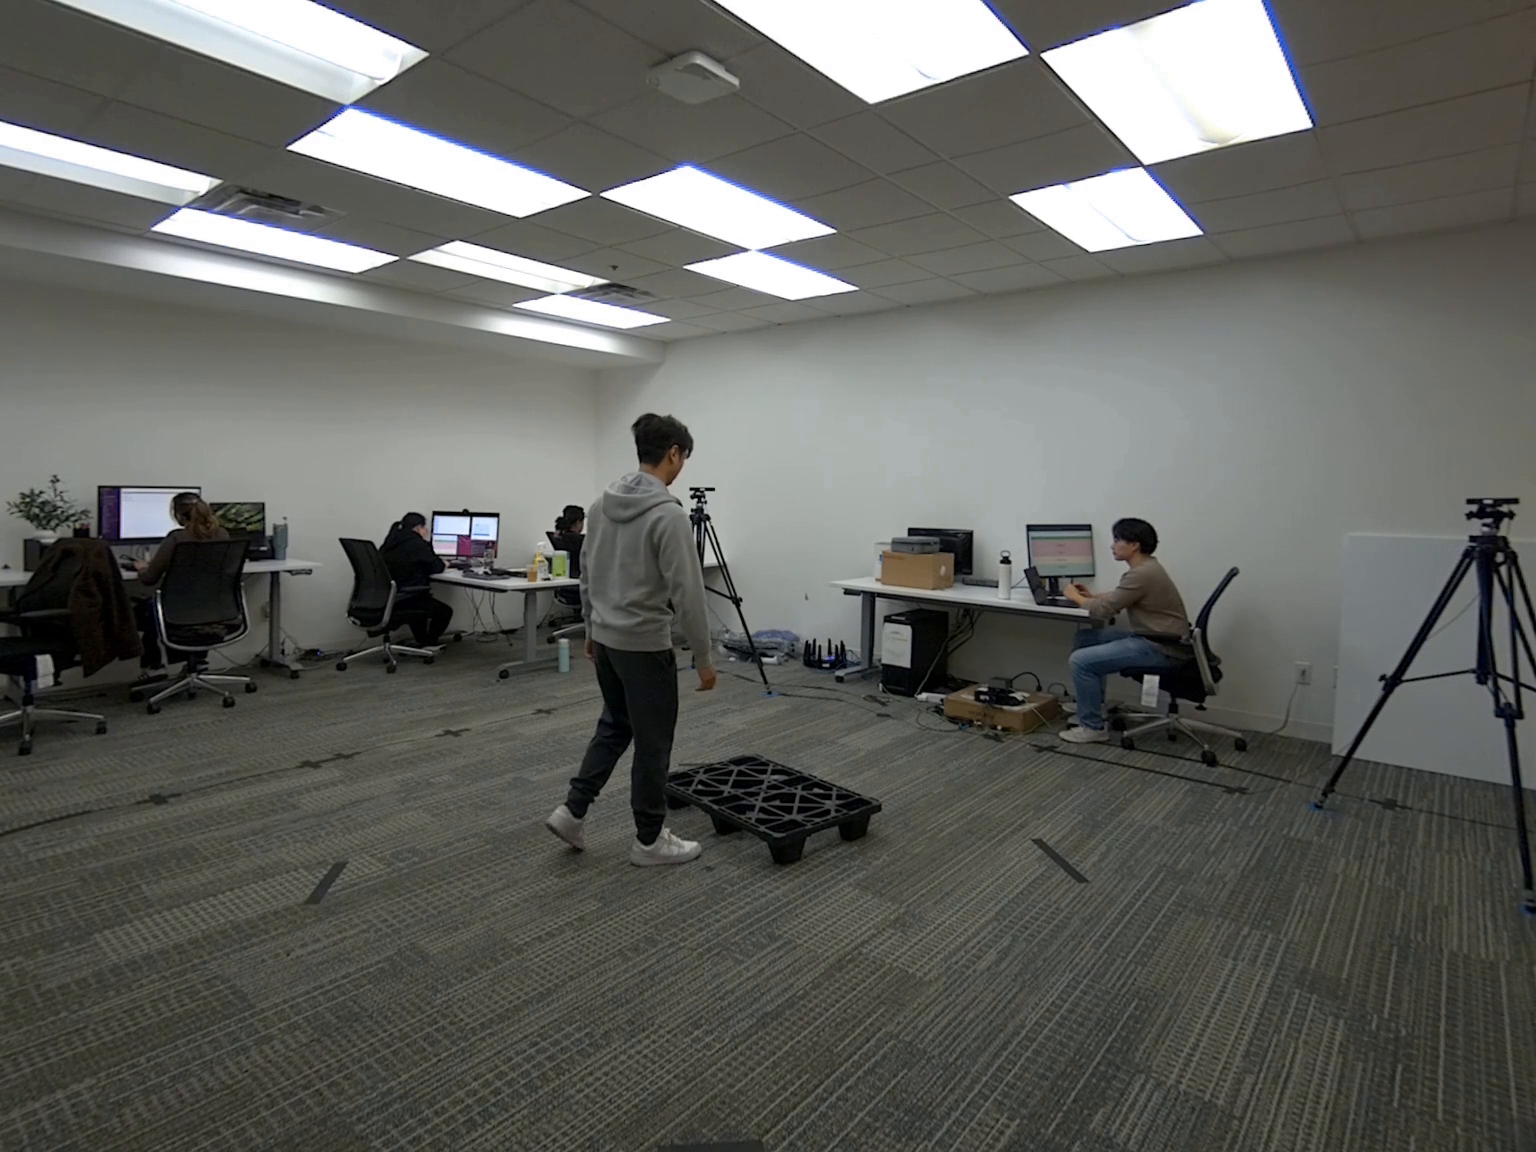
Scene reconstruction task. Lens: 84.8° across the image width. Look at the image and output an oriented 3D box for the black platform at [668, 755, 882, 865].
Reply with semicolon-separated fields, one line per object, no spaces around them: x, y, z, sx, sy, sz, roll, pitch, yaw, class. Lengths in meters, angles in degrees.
-0.030;0.960;3.564;0.587;0.143;0.833;-4;8;-41;black platform
